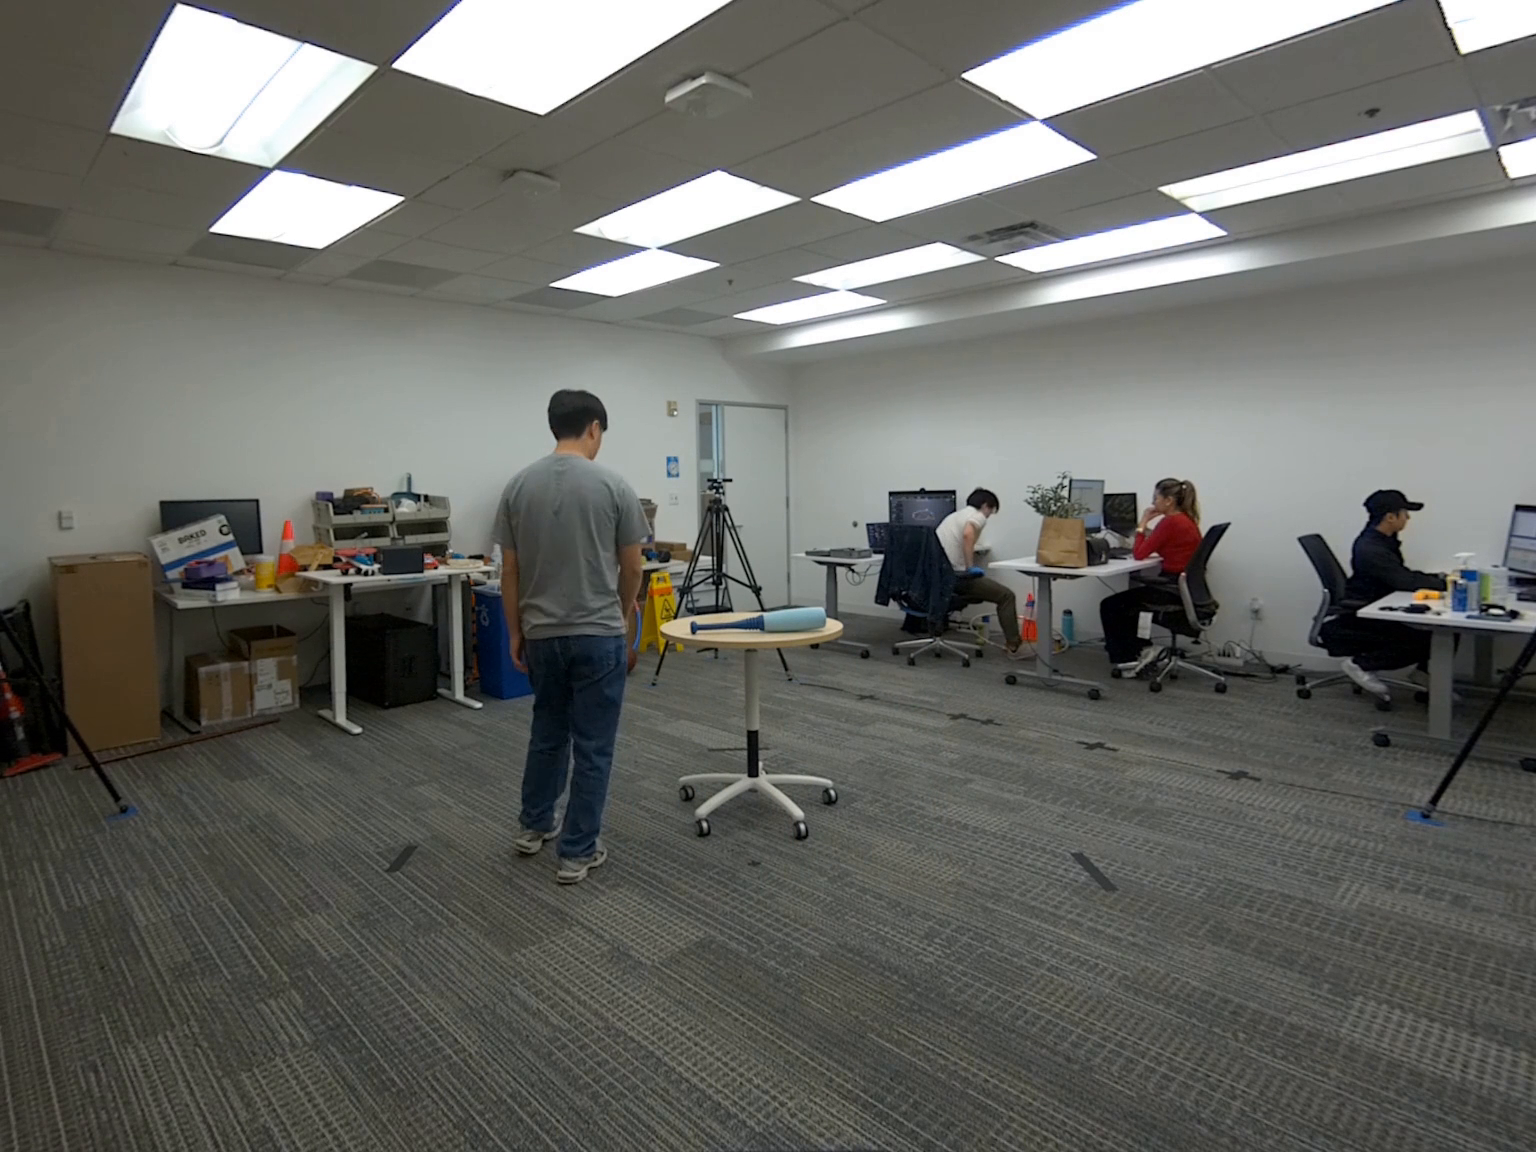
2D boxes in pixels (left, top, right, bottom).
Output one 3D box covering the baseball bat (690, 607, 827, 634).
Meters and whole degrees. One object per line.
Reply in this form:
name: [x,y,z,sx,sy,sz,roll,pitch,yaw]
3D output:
baseball bat: [-0.037,0.189,3.403,0.540,0.089,0.090,-5,5,-5]
